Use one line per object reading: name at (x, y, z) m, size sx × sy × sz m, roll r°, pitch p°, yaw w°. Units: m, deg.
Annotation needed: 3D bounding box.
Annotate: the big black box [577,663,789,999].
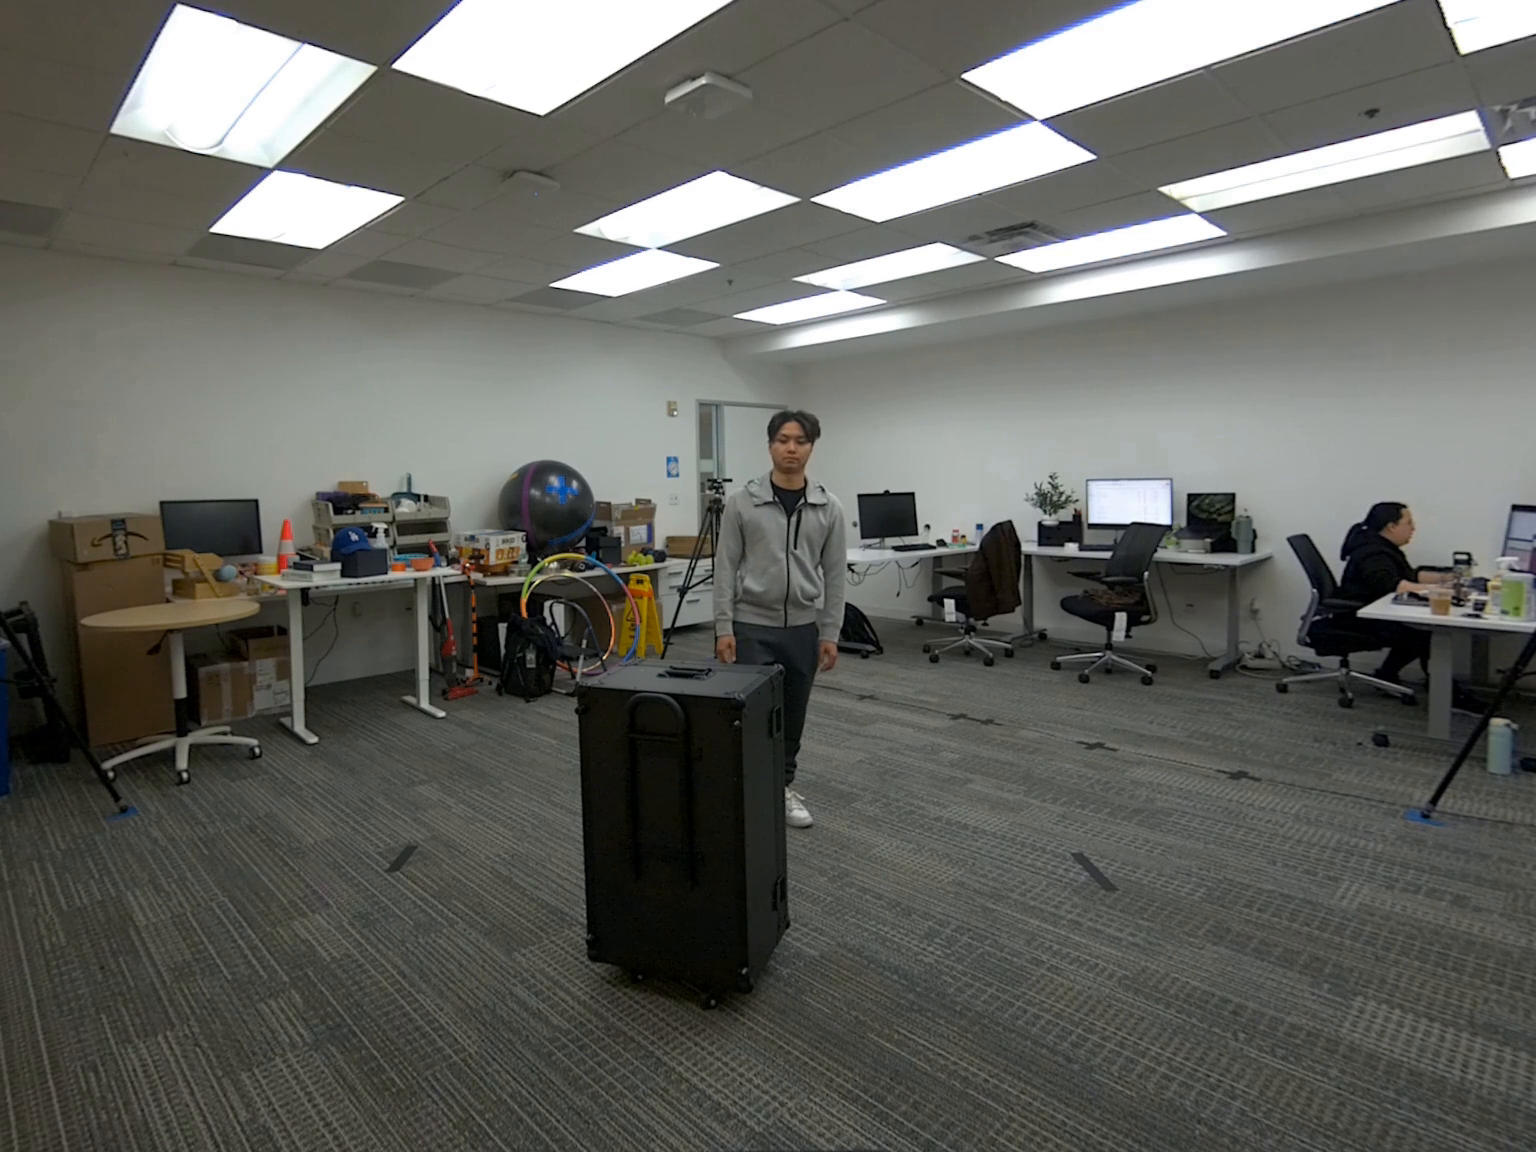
big black box at (-0.235, 0.703, 2.414) m, size 0.532 × 0.858 × 0.390 m, roll 0°, pitch 5°, yaw 22°
